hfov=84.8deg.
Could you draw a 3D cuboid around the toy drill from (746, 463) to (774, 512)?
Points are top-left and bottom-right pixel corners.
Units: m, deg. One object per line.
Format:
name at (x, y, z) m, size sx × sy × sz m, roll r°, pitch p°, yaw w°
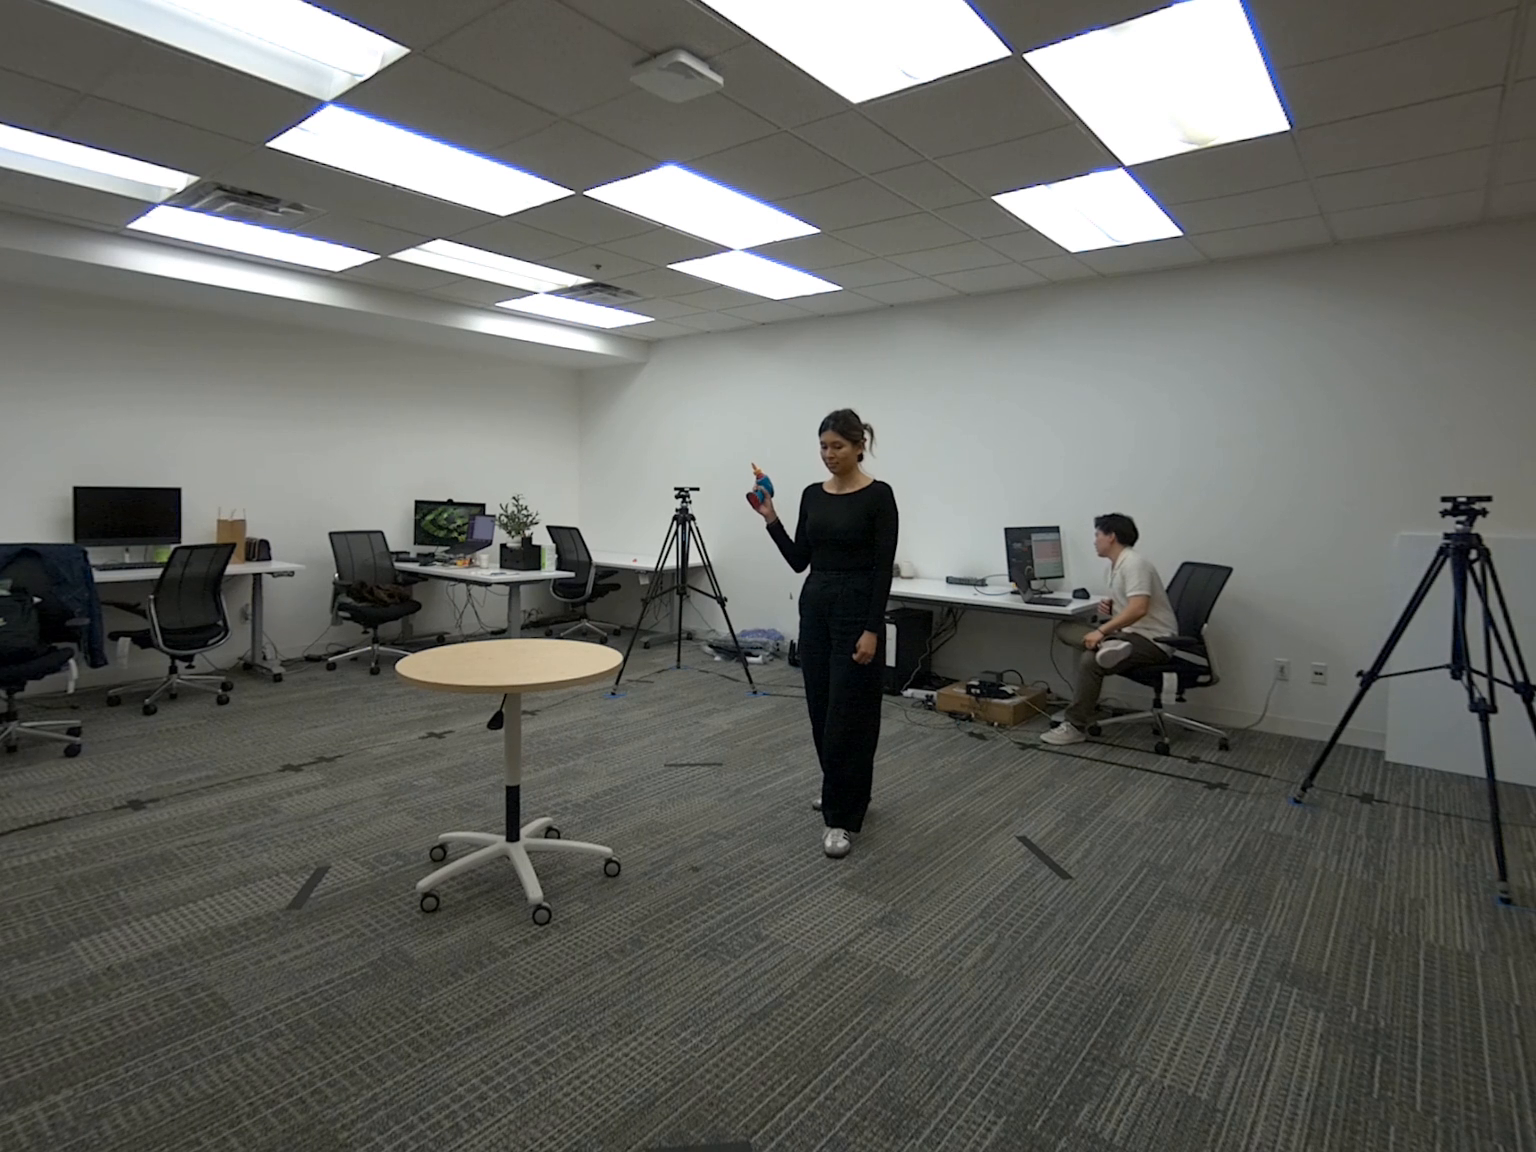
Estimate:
toy drill at (-0.052, -0.380, 3.495) m, size 0.062 × 0.166 × 0.145 m, roll -13°, pitch 23°, yaw 41°
